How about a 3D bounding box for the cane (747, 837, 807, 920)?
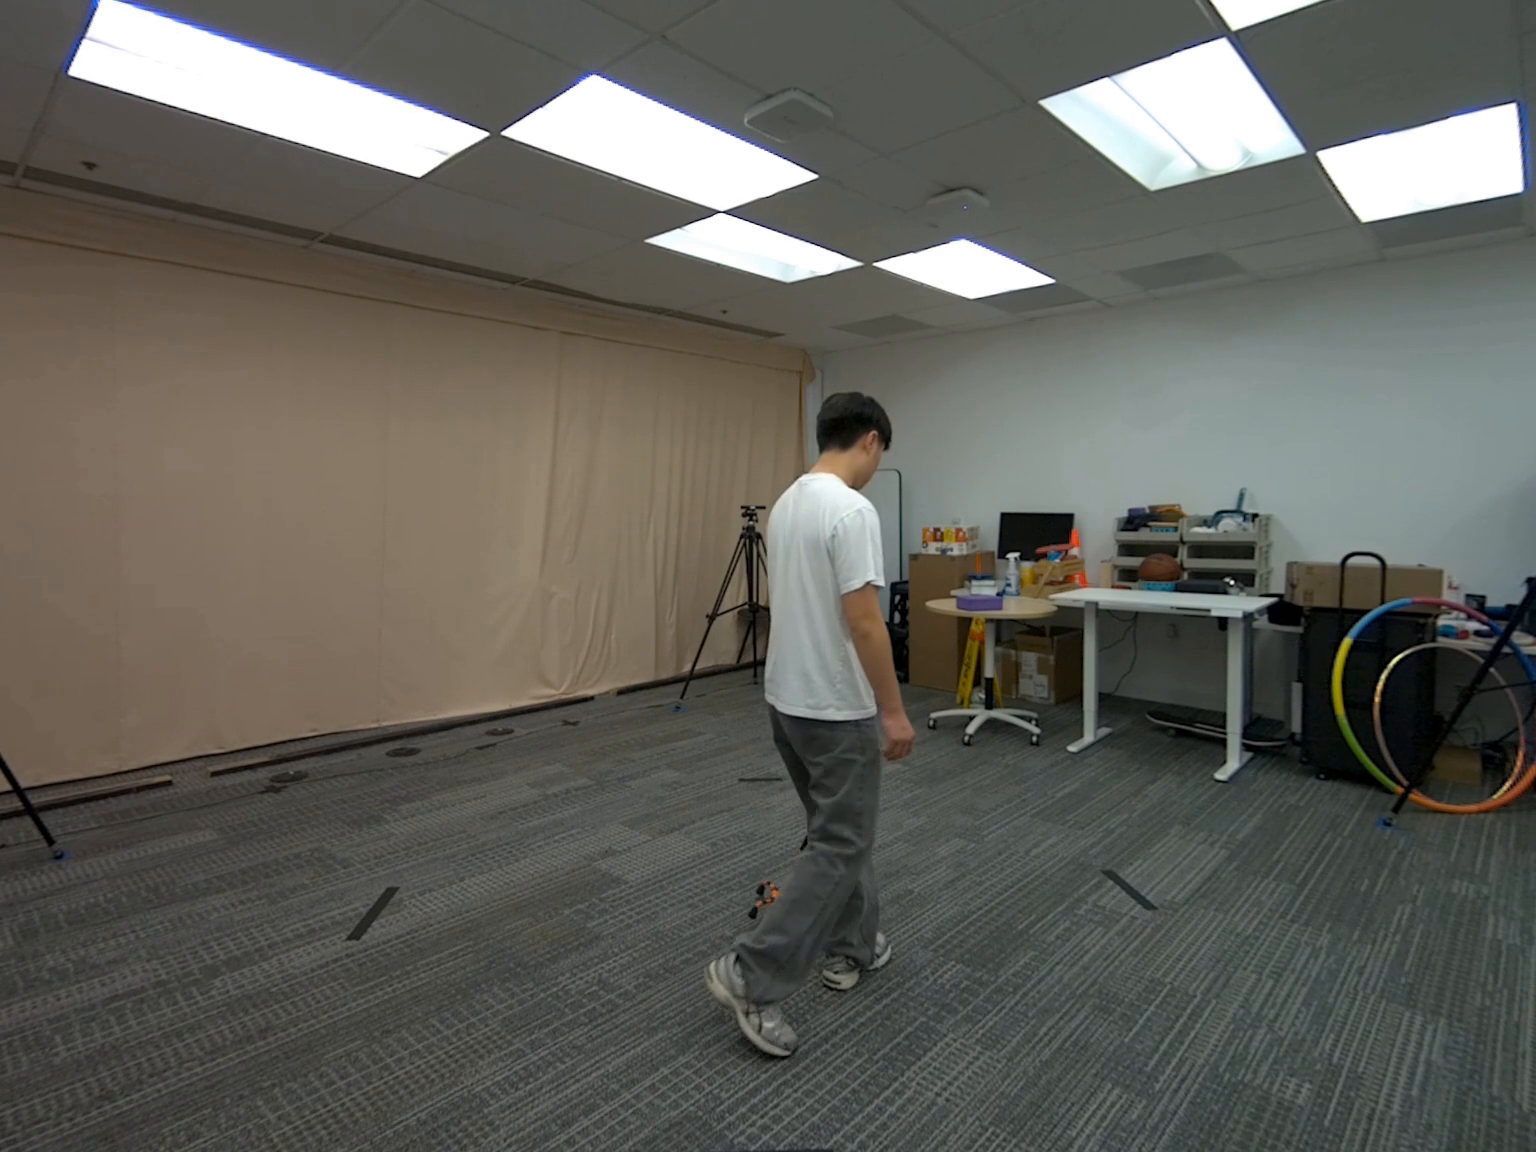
[{"bbox_3d":[0.182,0.720,2.781,0.154,0.906,0.204,21,7,11],"label":"cane"}]
